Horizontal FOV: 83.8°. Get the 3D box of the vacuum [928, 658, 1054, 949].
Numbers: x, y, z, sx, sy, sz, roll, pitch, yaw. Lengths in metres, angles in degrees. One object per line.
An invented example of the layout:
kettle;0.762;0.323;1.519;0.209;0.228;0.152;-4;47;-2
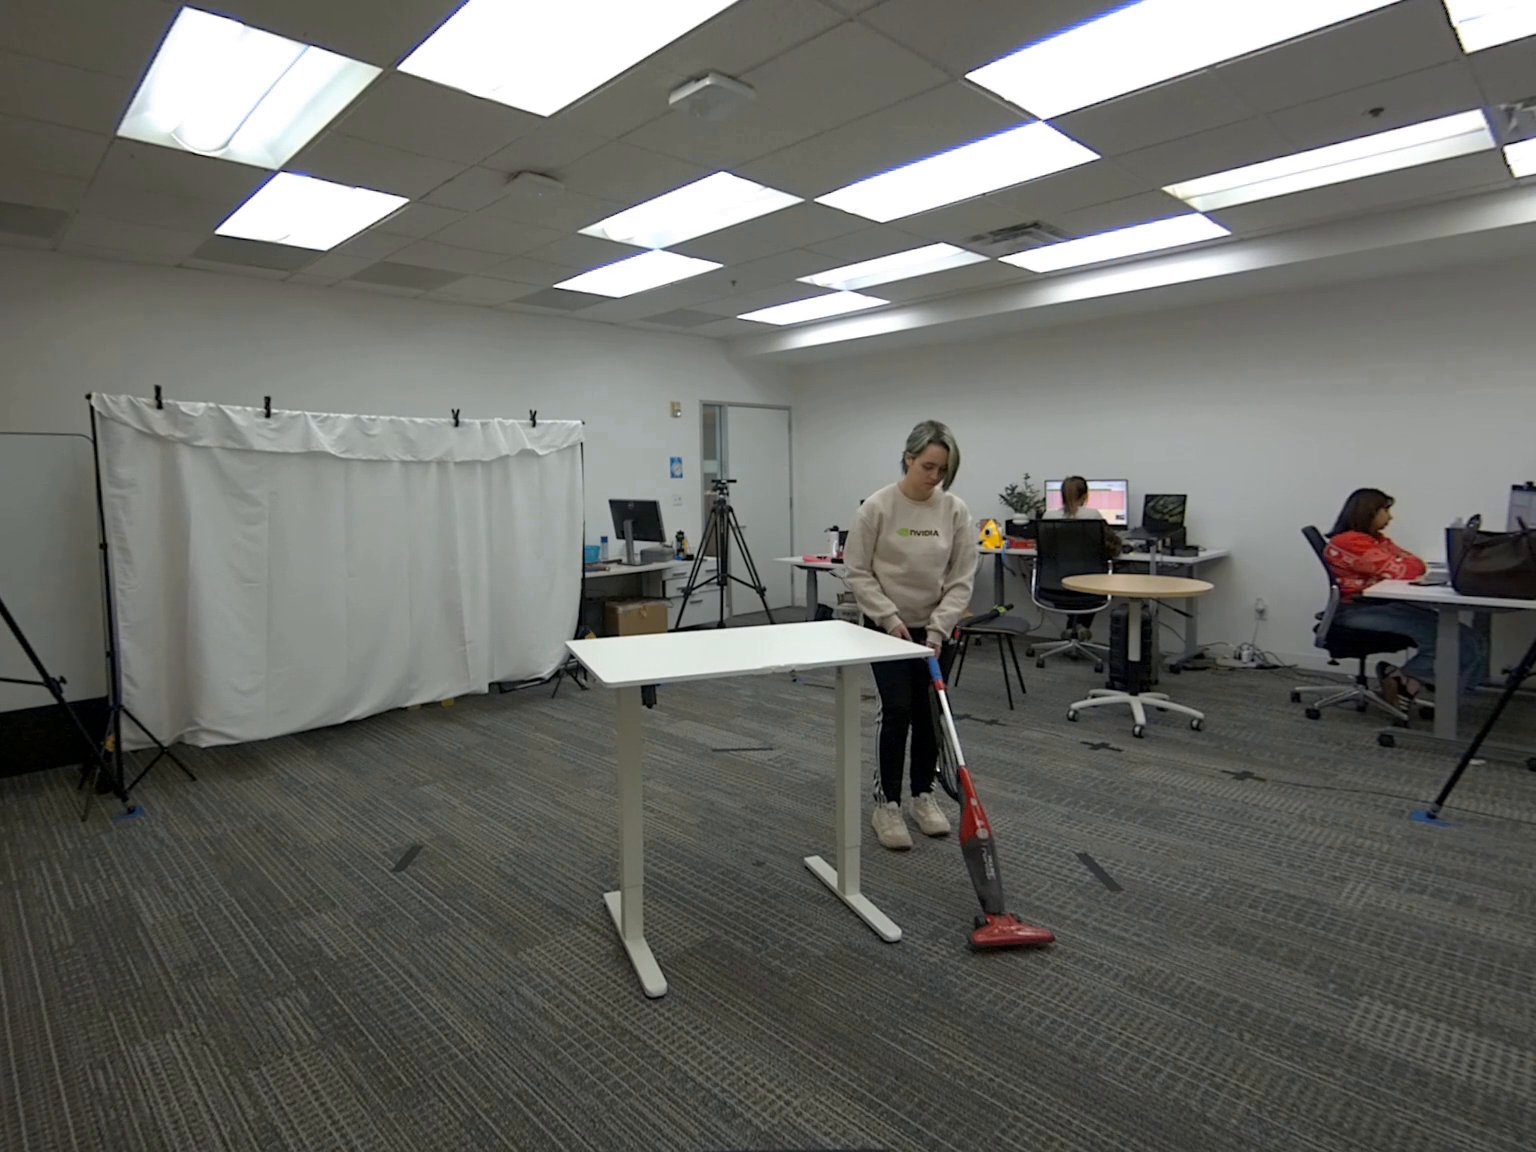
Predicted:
vacuum;0.653;0.680;2.907;0.250;1.082;0.141;0;-42;-11
